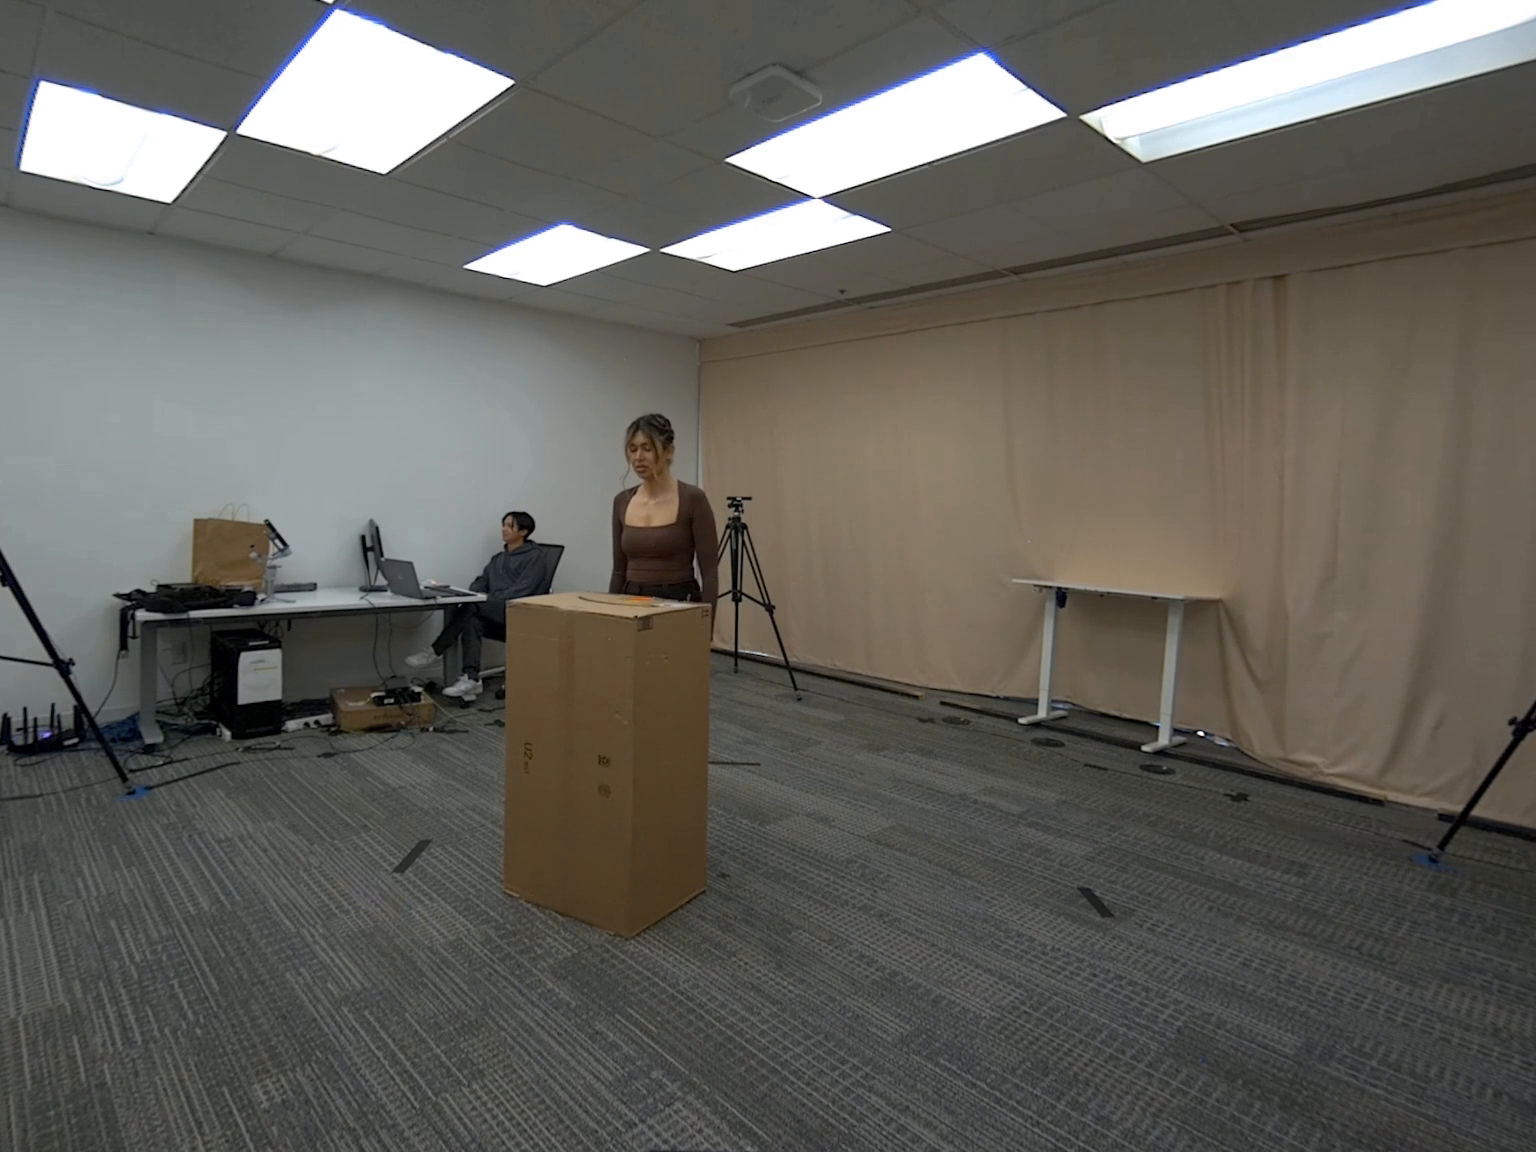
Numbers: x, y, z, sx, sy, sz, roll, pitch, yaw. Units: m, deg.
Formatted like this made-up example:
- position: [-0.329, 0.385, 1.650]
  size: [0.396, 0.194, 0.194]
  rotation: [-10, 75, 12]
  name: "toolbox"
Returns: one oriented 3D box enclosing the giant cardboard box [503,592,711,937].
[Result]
- position: [-0.563, 0.603, 2.938]
  size: [0.597, 1.025, 0.437]
  rotation: [3, 3, 33]
  name: "giant cardboard box"
